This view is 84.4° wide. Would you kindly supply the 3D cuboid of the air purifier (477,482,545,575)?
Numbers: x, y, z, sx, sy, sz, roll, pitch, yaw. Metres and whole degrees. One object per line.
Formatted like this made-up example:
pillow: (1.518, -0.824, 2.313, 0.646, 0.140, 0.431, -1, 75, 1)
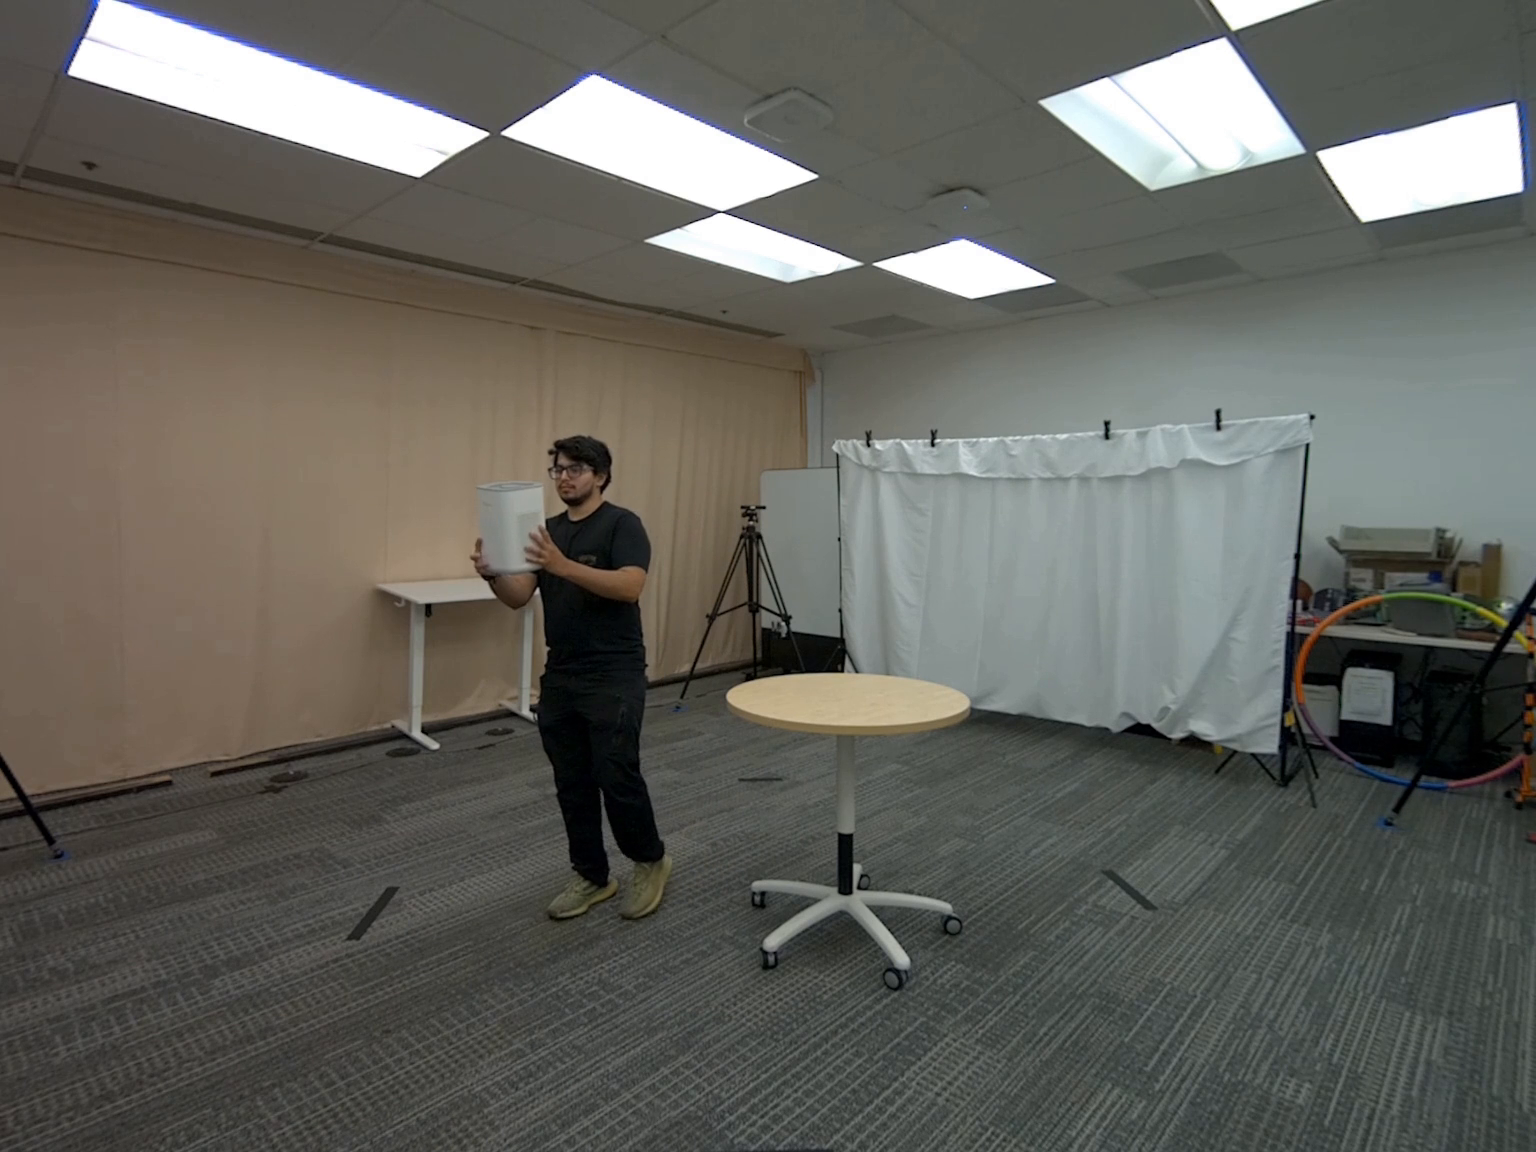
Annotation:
air purifier: (-0.788, -0.148, 2.583, 0.177, 0.263, 0.167, 8, 15, 34)
